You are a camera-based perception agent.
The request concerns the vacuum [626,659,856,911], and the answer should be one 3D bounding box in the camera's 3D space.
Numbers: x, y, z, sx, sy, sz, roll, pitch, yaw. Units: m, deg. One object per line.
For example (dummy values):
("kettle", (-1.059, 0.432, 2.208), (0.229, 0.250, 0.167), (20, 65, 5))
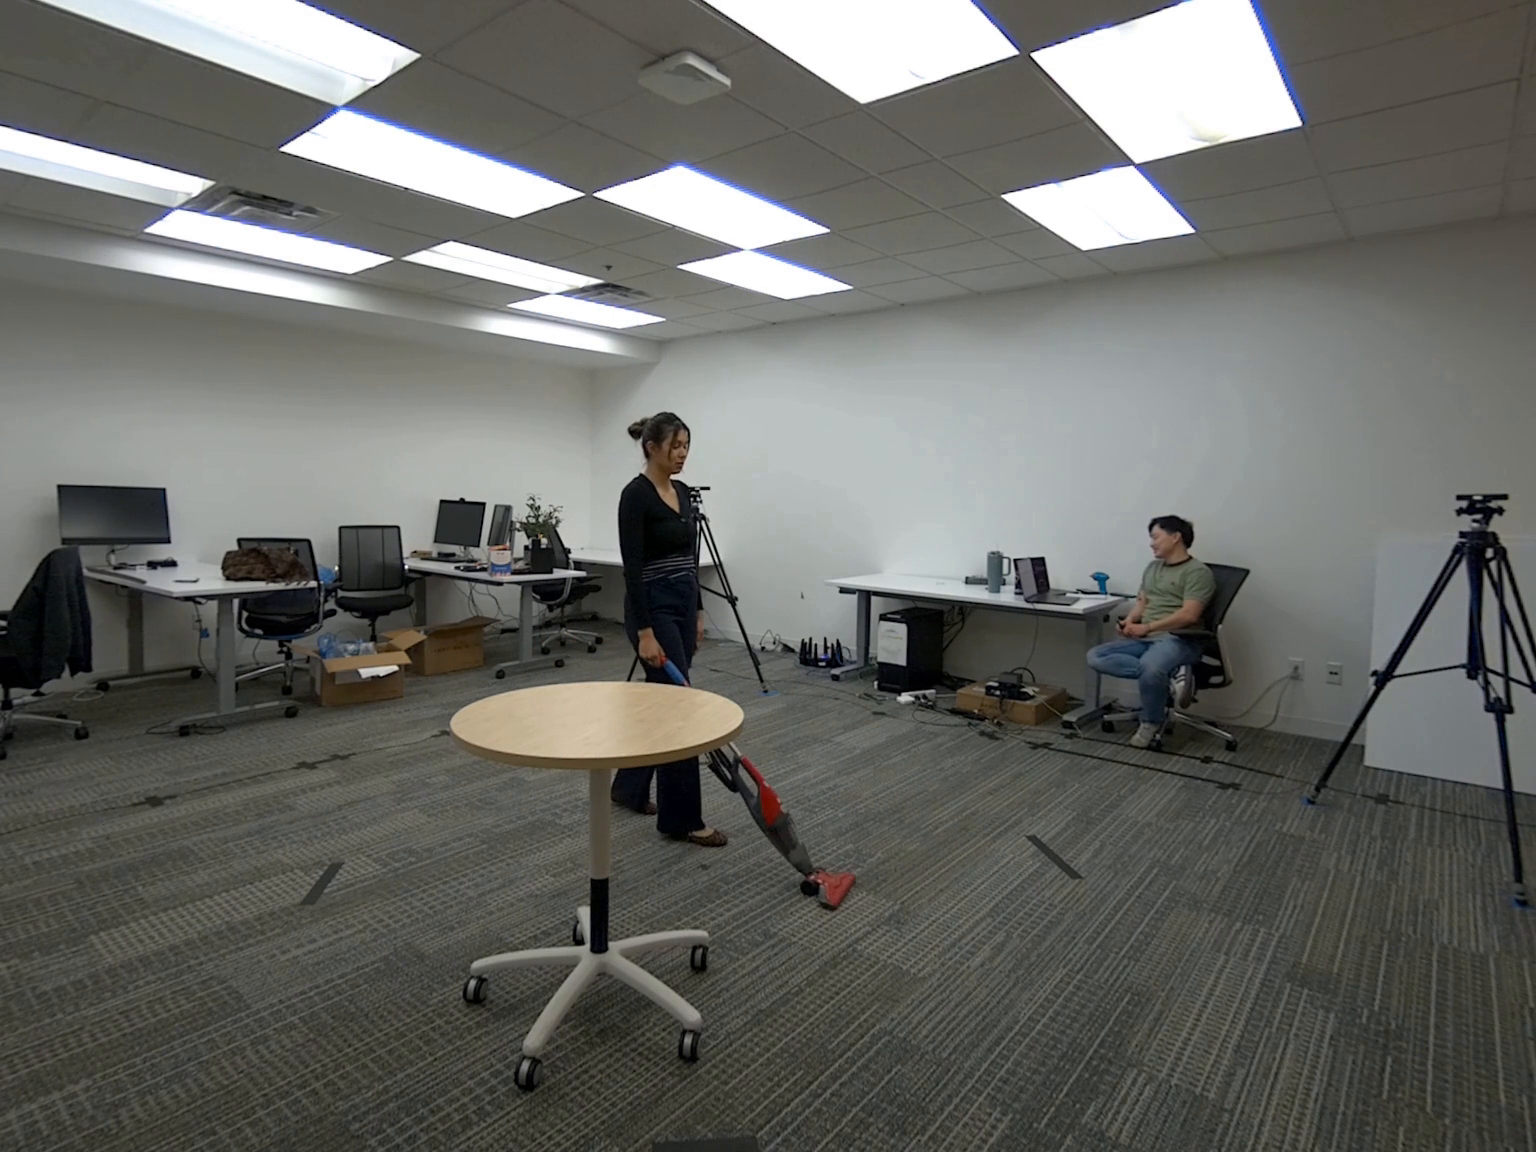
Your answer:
("vacuum", (-0.120, 0.689, 3.087), (0.144, 1.074, 0.246), (-46, -17, 19))
